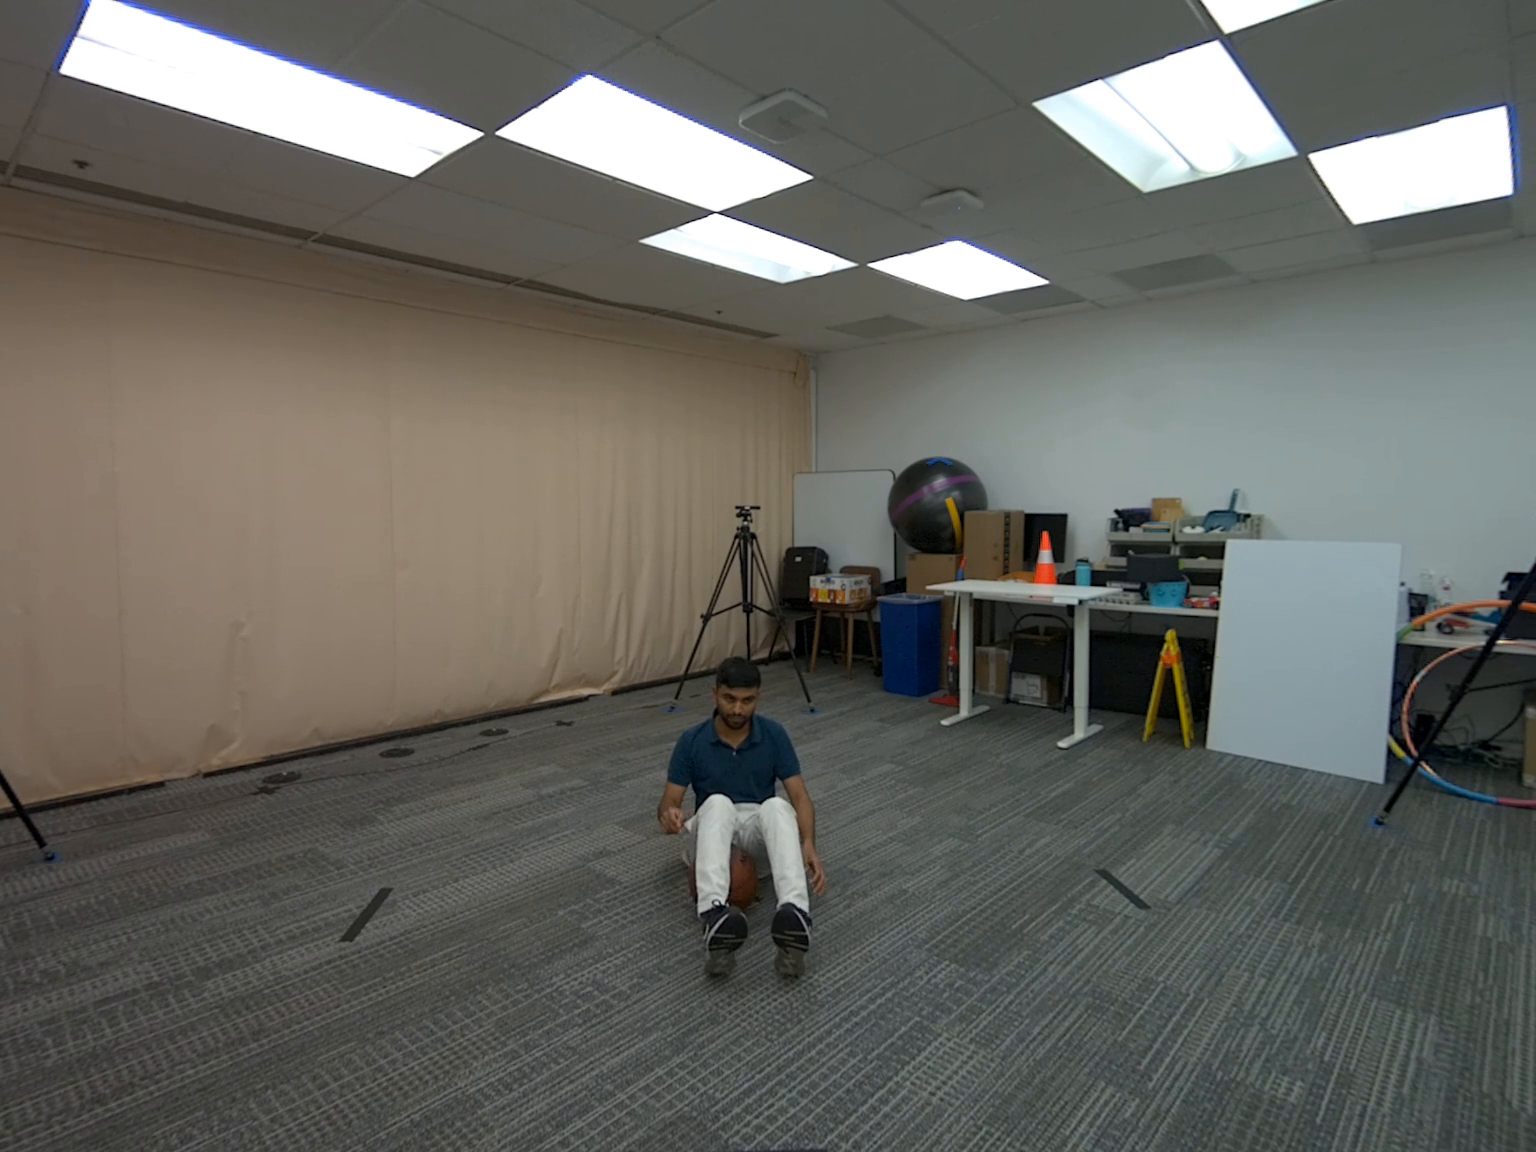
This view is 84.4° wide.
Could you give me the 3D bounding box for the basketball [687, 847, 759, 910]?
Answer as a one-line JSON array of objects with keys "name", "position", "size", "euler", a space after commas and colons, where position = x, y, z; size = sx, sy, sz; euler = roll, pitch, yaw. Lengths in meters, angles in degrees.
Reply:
[{"name": "basketball", "position": [-0.163, 1.032, 2.869], "size": [0.236, 0.235, 0.237], "euler": [0, 4, -2]}]
